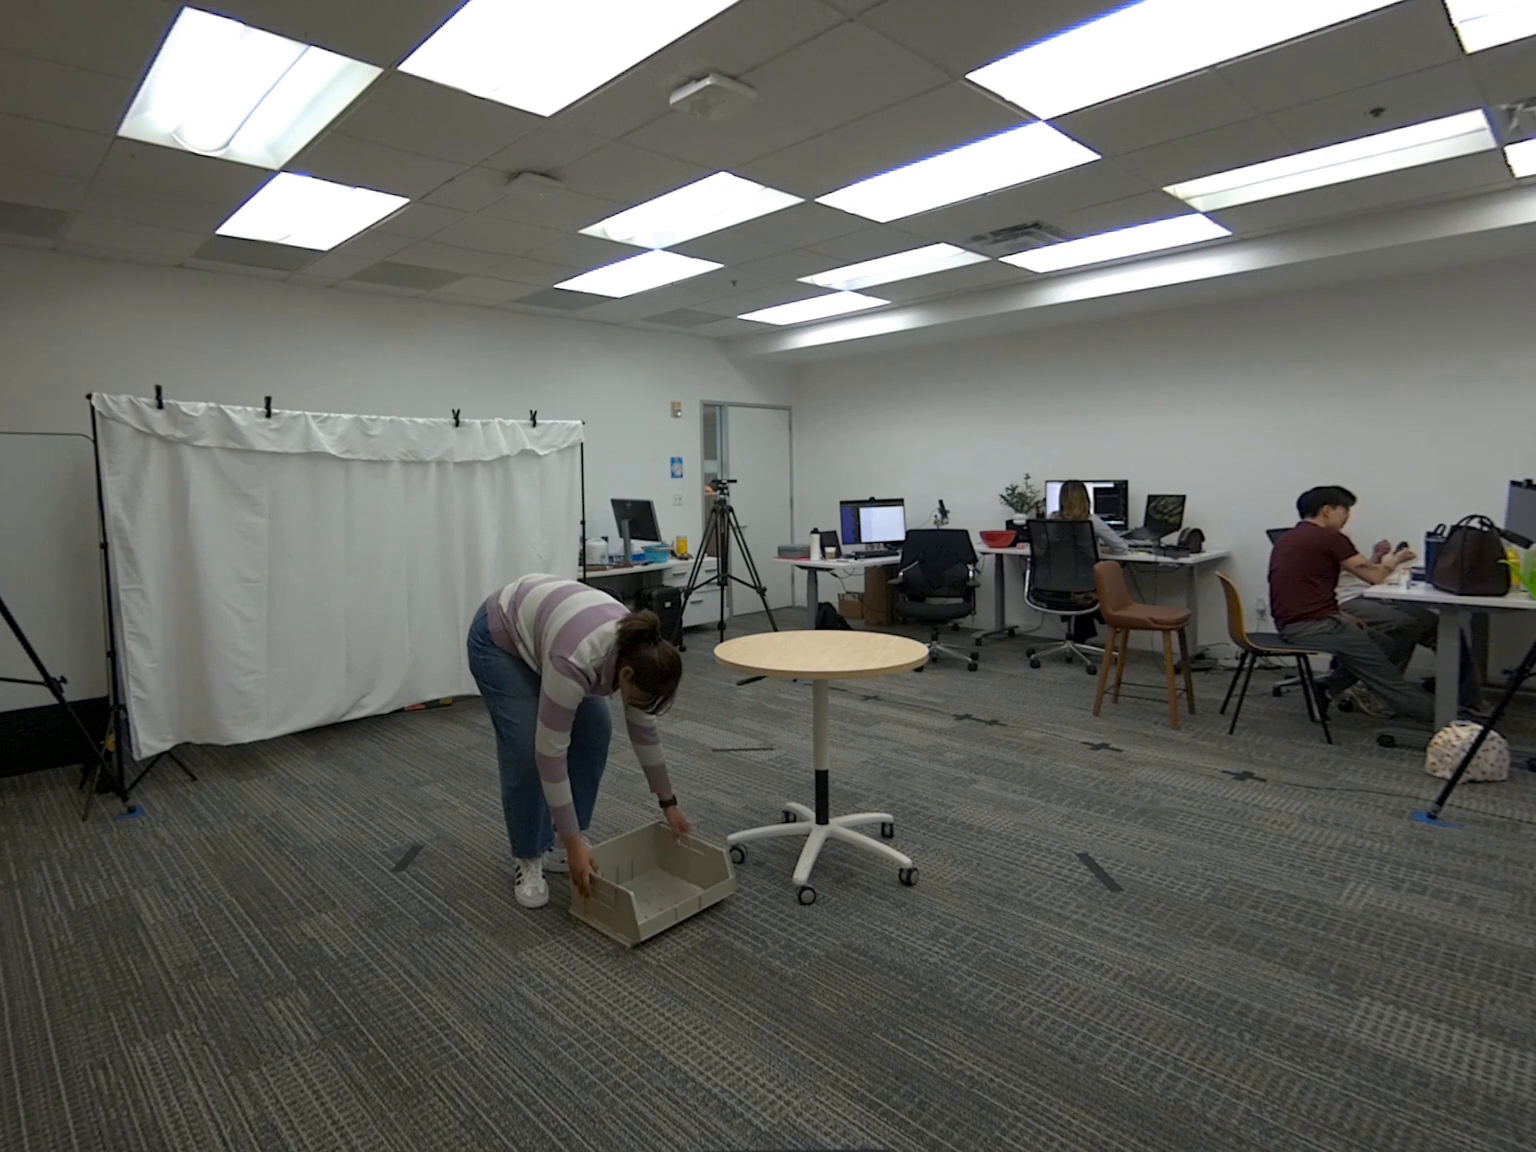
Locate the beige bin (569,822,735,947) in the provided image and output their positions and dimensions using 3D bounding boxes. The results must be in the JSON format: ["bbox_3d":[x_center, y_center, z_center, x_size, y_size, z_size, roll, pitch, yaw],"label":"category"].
[{"bbox_3d":[-0.385,0.999,2.802,0.389,0.188,0.411,4,9,43],"label":"beige bin"}]
